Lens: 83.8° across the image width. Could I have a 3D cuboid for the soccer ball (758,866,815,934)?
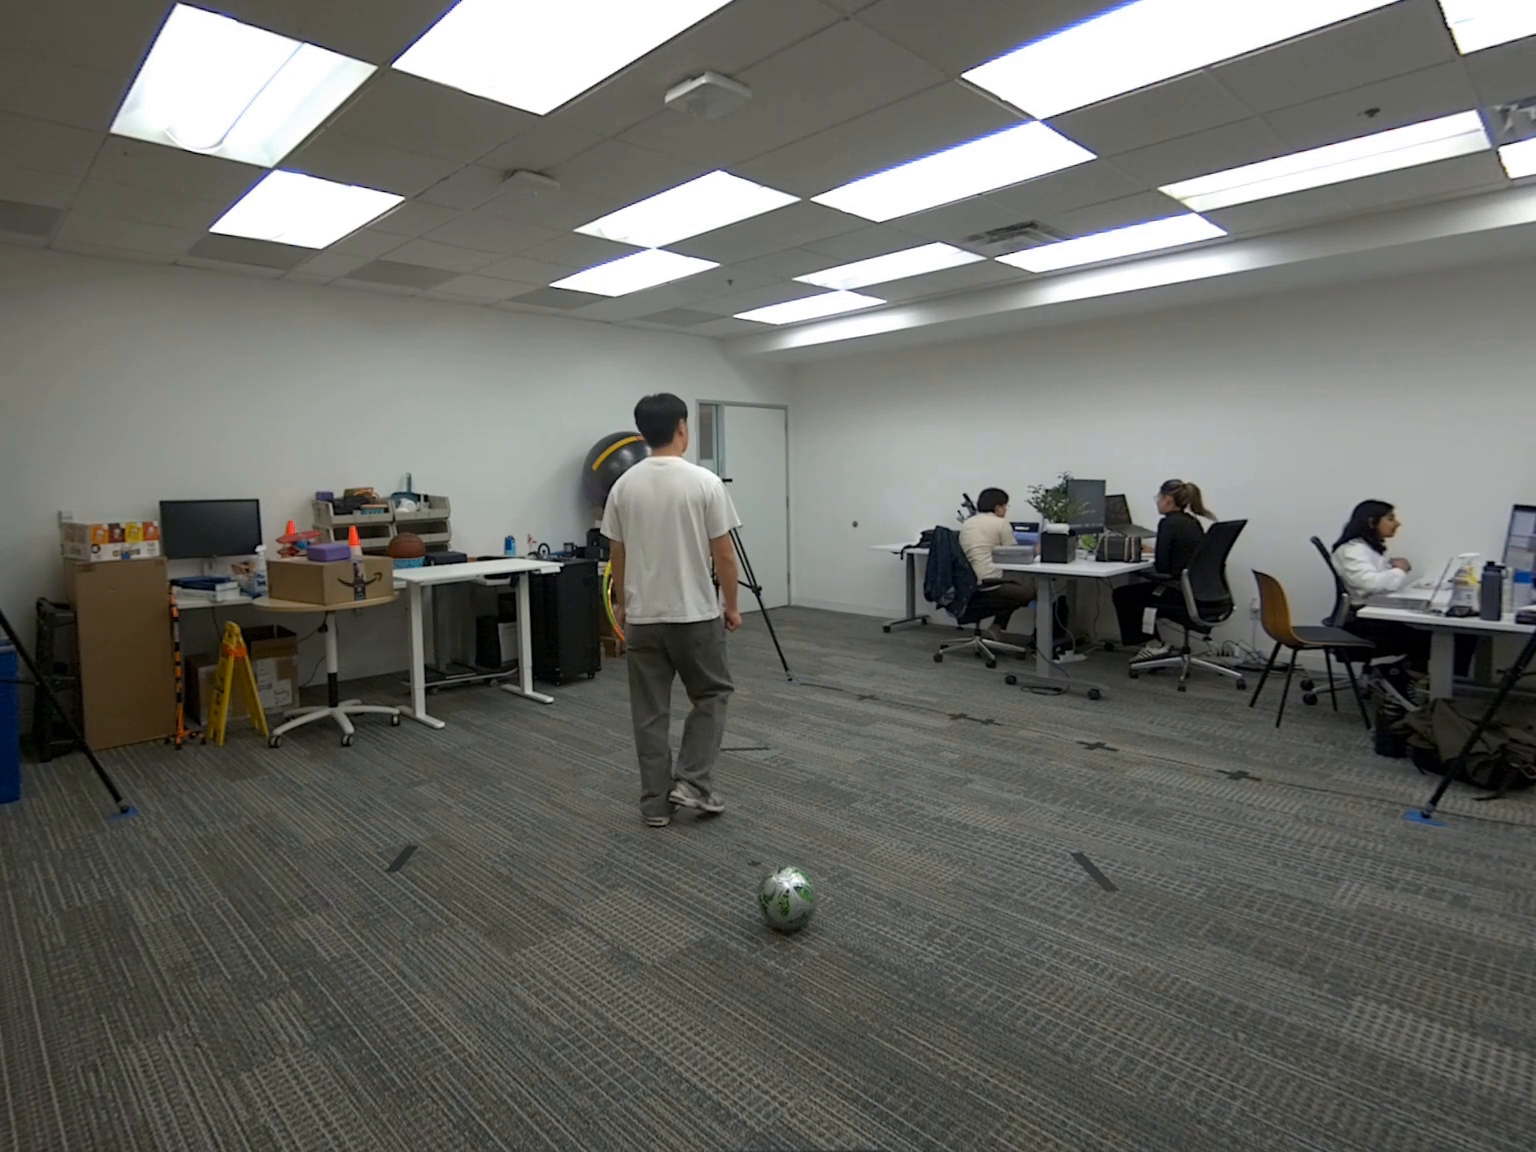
[{"bbox_3d":[0.068,1.002,2.664,0.187,0.187,0.188,-1,5,-2],"label":"soccer ball"}]
